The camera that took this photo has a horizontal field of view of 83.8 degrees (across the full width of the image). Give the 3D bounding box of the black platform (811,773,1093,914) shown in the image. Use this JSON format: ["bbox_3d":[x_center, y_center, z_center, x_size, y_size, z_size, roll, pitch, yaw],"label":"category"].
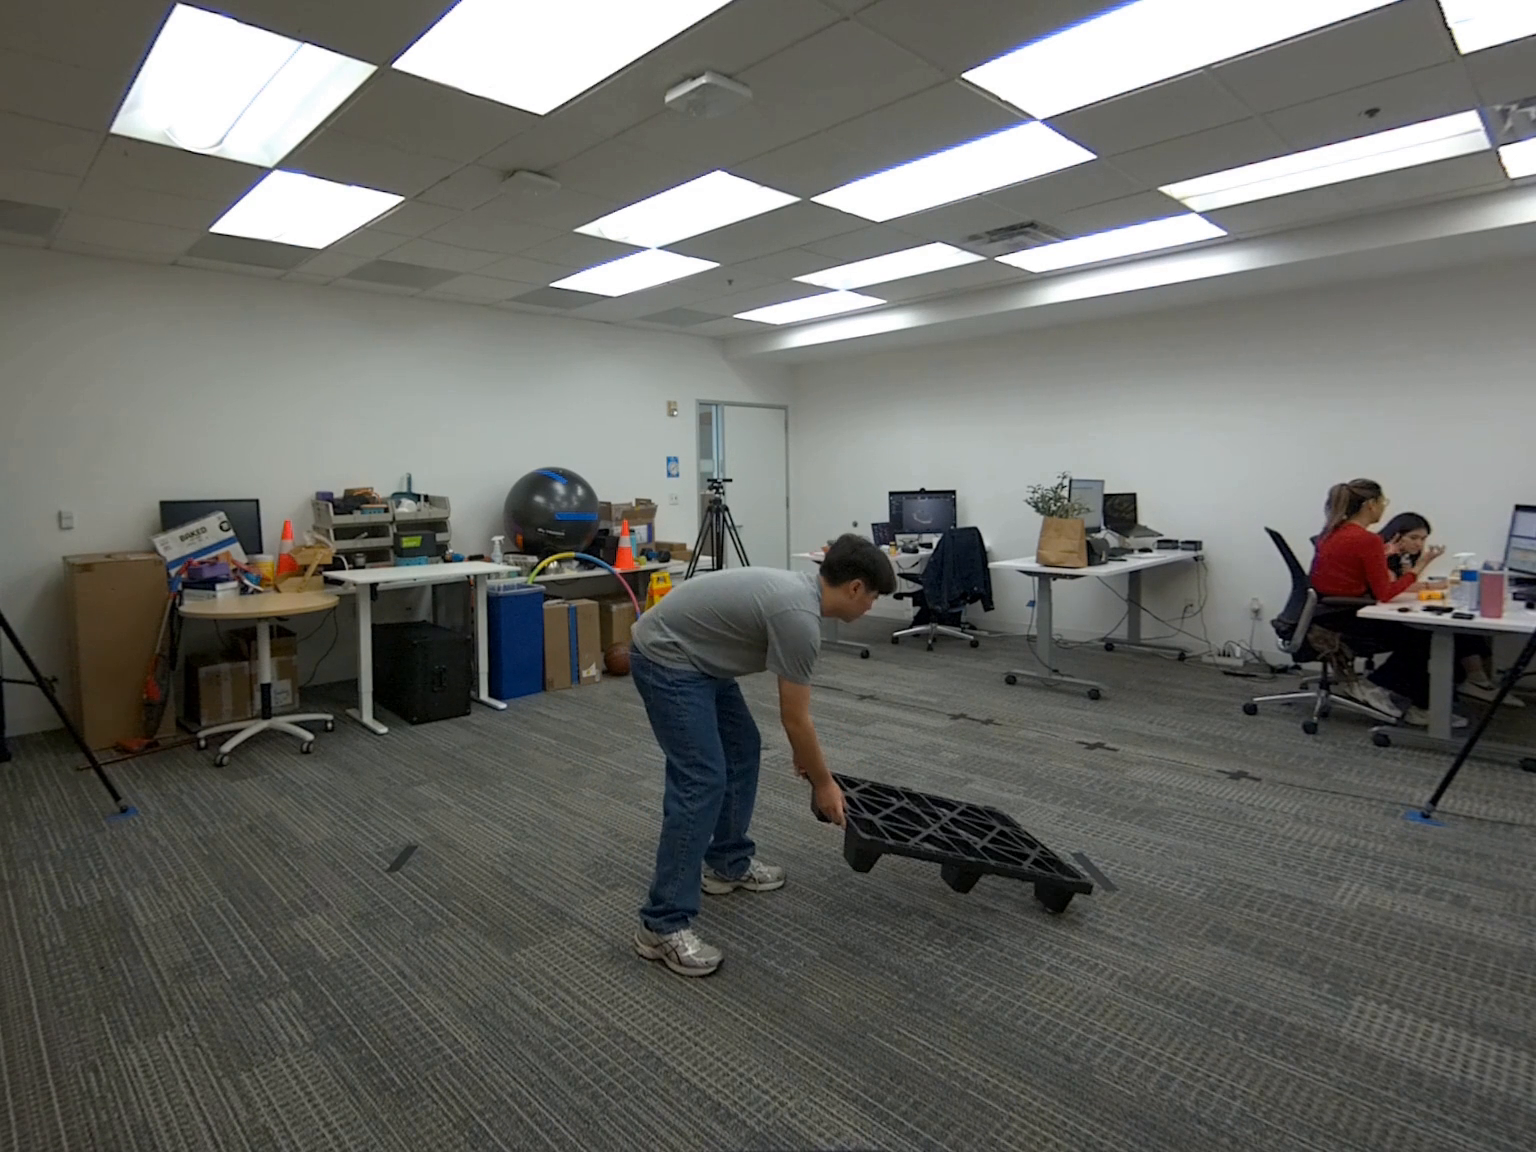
[{"bbox_3d":[0.552,0.885,2.878,0.795,0.143,0.614,15,2,-12],"label":"black platform"}]
